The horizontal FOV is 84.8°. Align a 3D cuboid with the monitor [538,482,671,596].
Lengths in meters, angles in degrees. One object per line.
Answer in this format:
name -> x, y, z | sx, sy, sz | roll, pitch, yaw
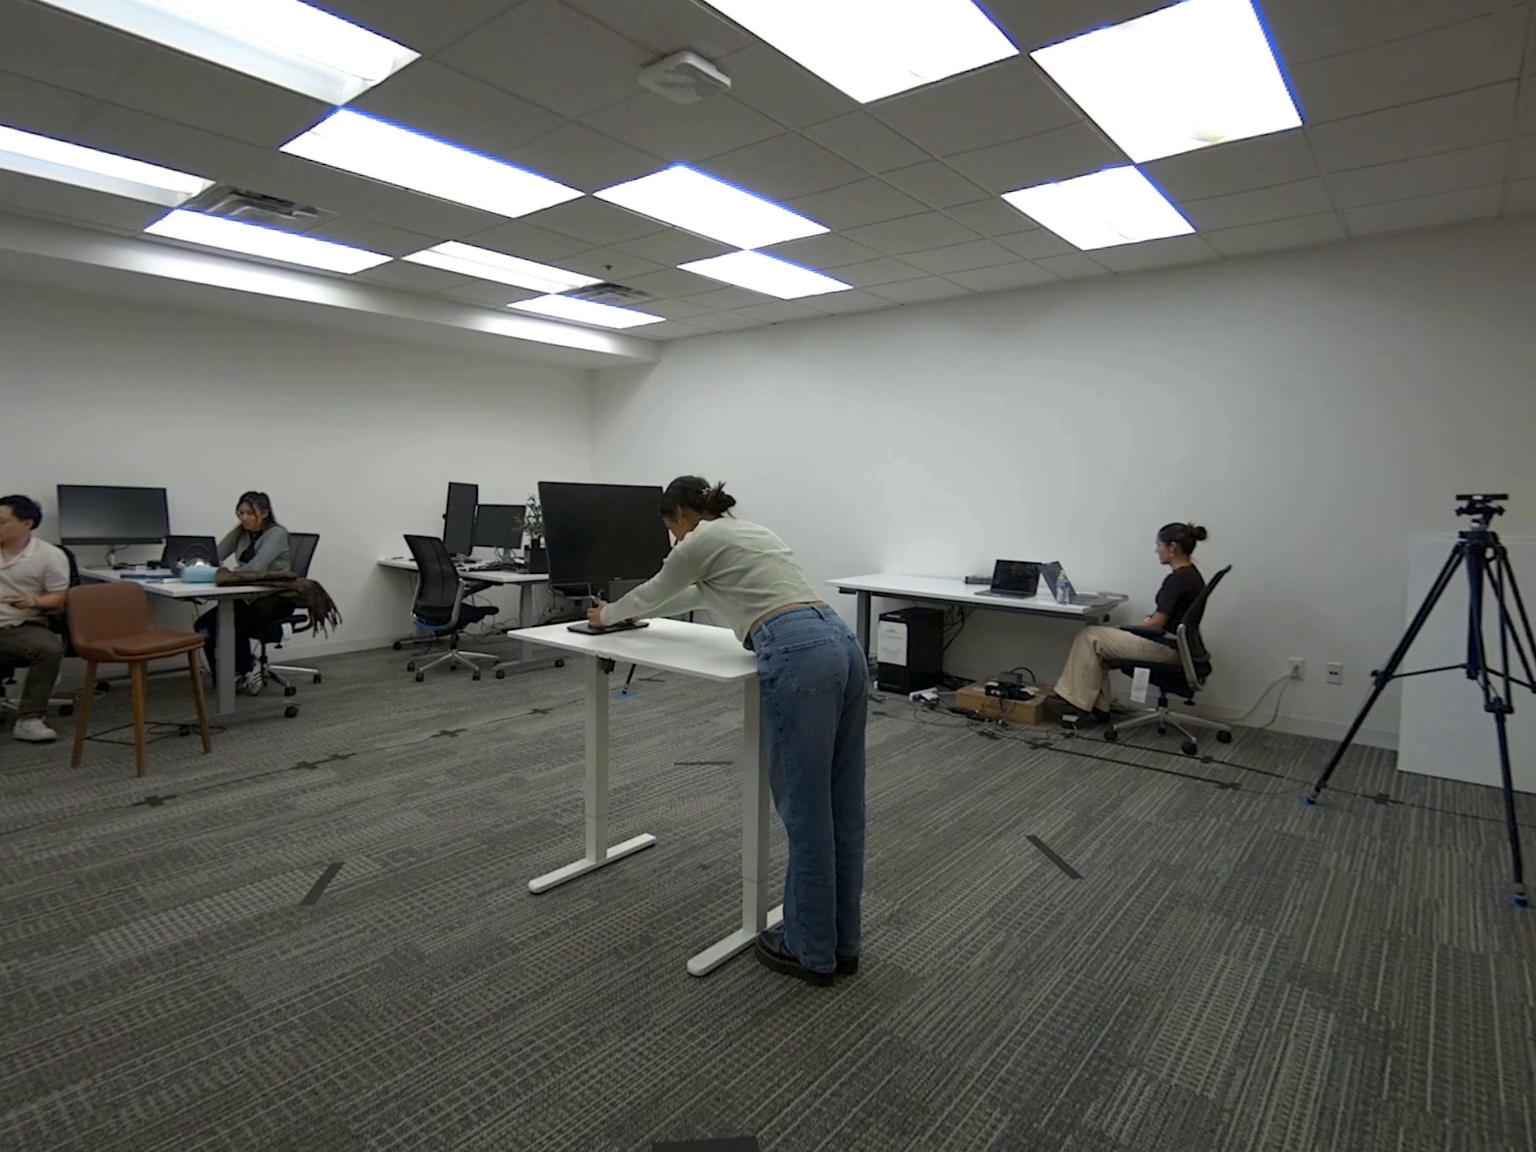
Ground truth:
monitor -> -0.594, -0.069, 3.019 | 0.523, 0.522, 0.193 | -3, 3, -45
